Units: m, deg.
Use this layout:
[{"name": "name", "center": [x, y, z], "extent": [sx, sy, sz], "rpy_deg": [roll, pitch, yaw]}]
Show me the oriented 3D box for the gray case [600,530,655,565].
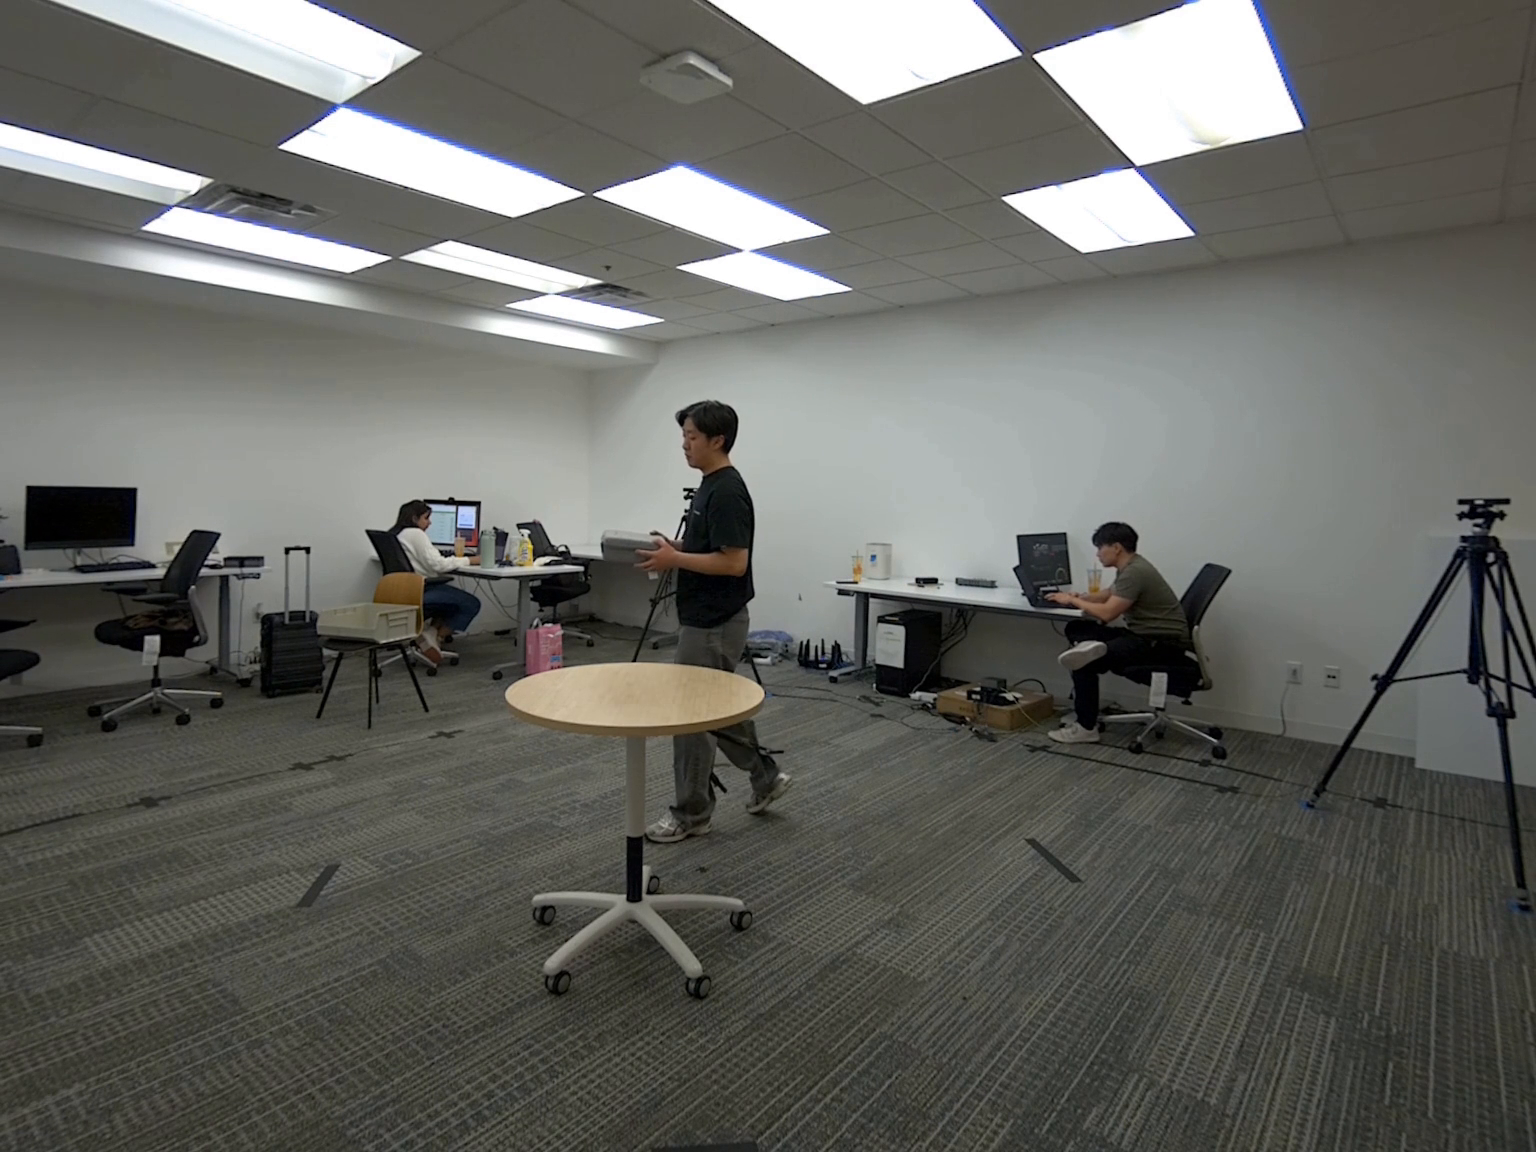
[{"name": "gray case", "center": [-0.532, -0.116, 3.409], "extent": [0.285, 0.102, 0.267], "rpy_deg": [5, 9, -7]}]
